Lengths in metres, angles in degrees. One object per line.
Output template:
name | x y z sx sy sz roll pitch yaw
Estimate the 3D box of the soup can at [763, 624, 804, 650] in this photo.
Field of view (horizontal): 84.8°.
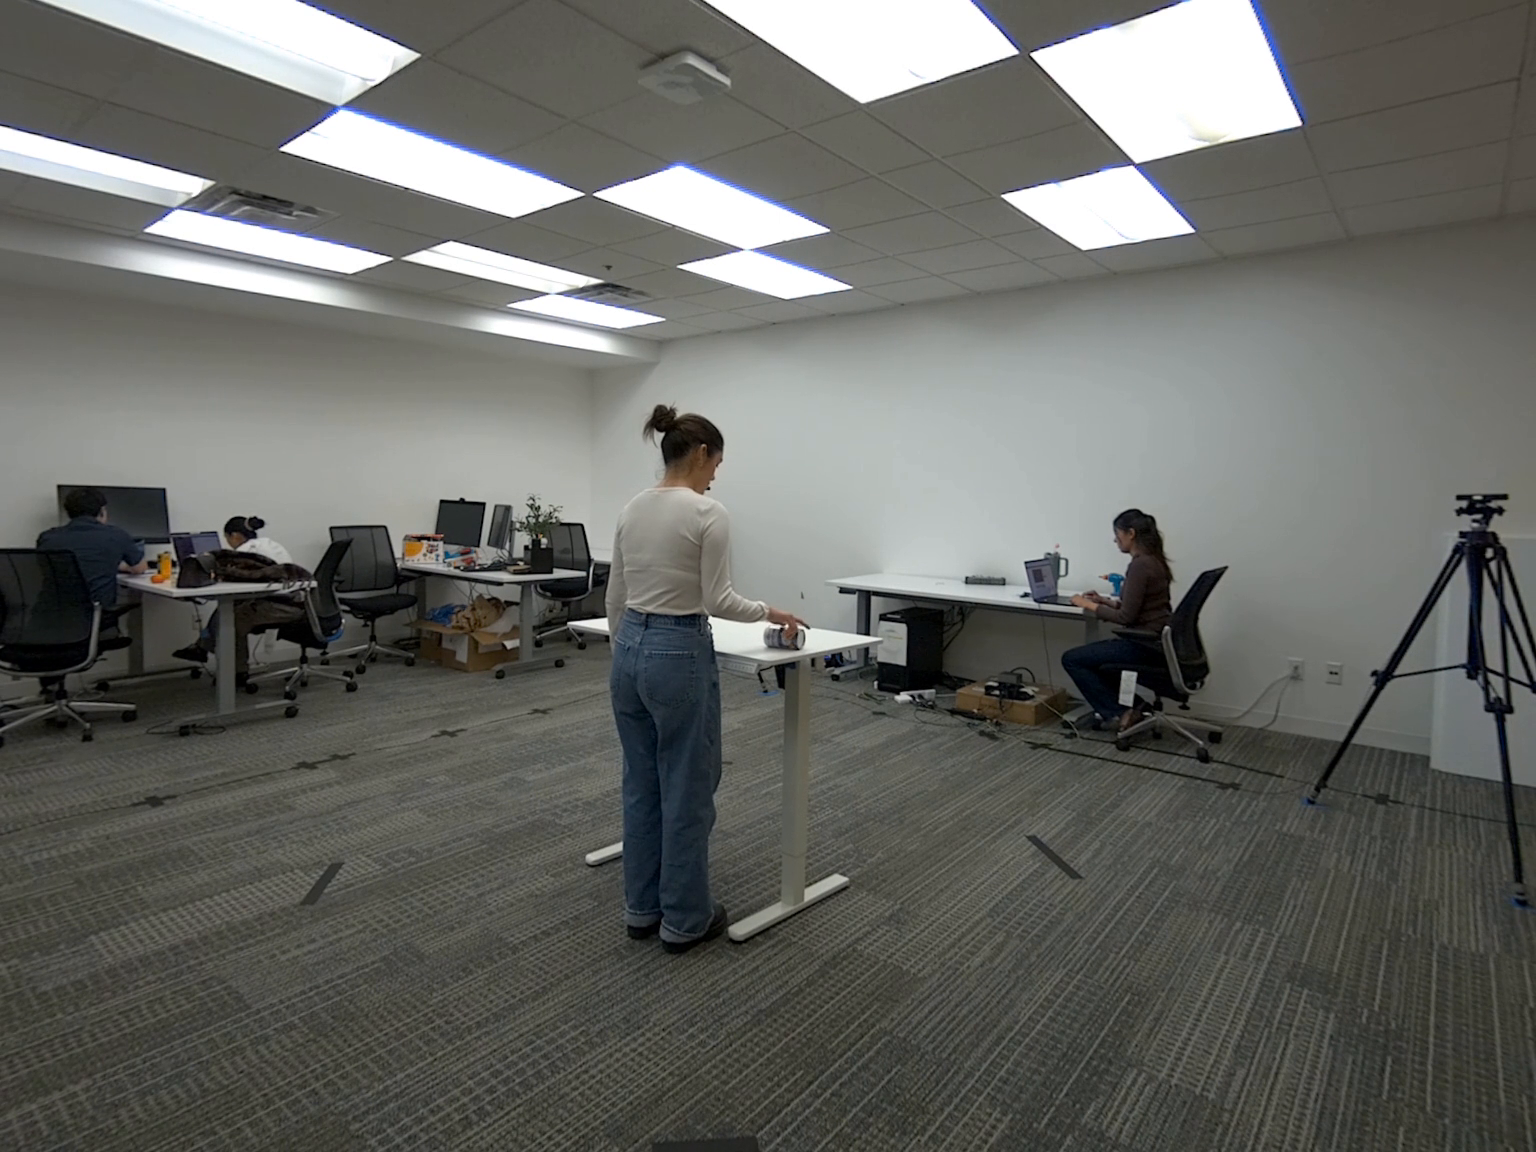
soup can | 0.046 0.196 2.683 0.125 0.067 0.065 3 5 27
